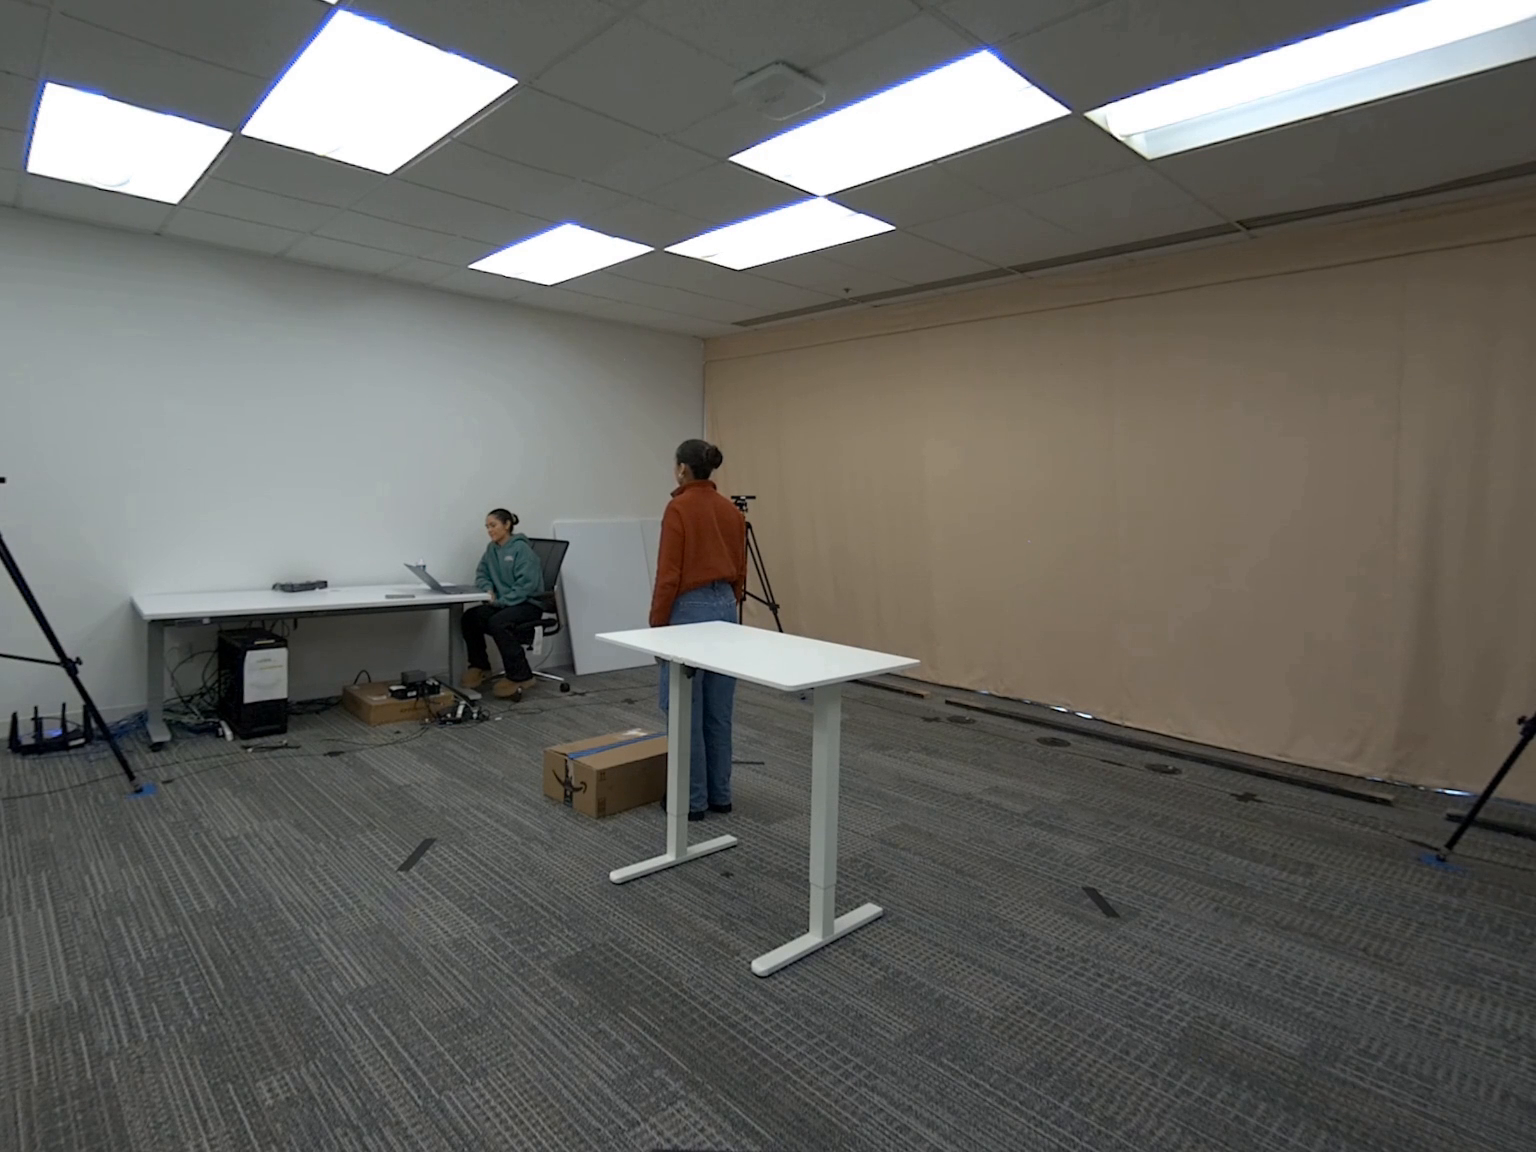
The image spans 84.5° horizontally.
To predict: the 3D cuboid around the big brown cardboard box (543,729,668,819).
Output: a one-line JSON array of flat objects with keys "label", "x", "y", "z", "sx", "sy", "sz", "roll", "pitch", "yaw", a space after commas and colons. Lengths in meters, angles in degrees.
[{"label": "big brown cardboard box", "x": -0.702, "y": 0.902, "z": 3.945, "sx": 0.428, "sy": 0.232, "sz": 0.576, "roll": 5, "pitch": 7, "yaw": 43}]
